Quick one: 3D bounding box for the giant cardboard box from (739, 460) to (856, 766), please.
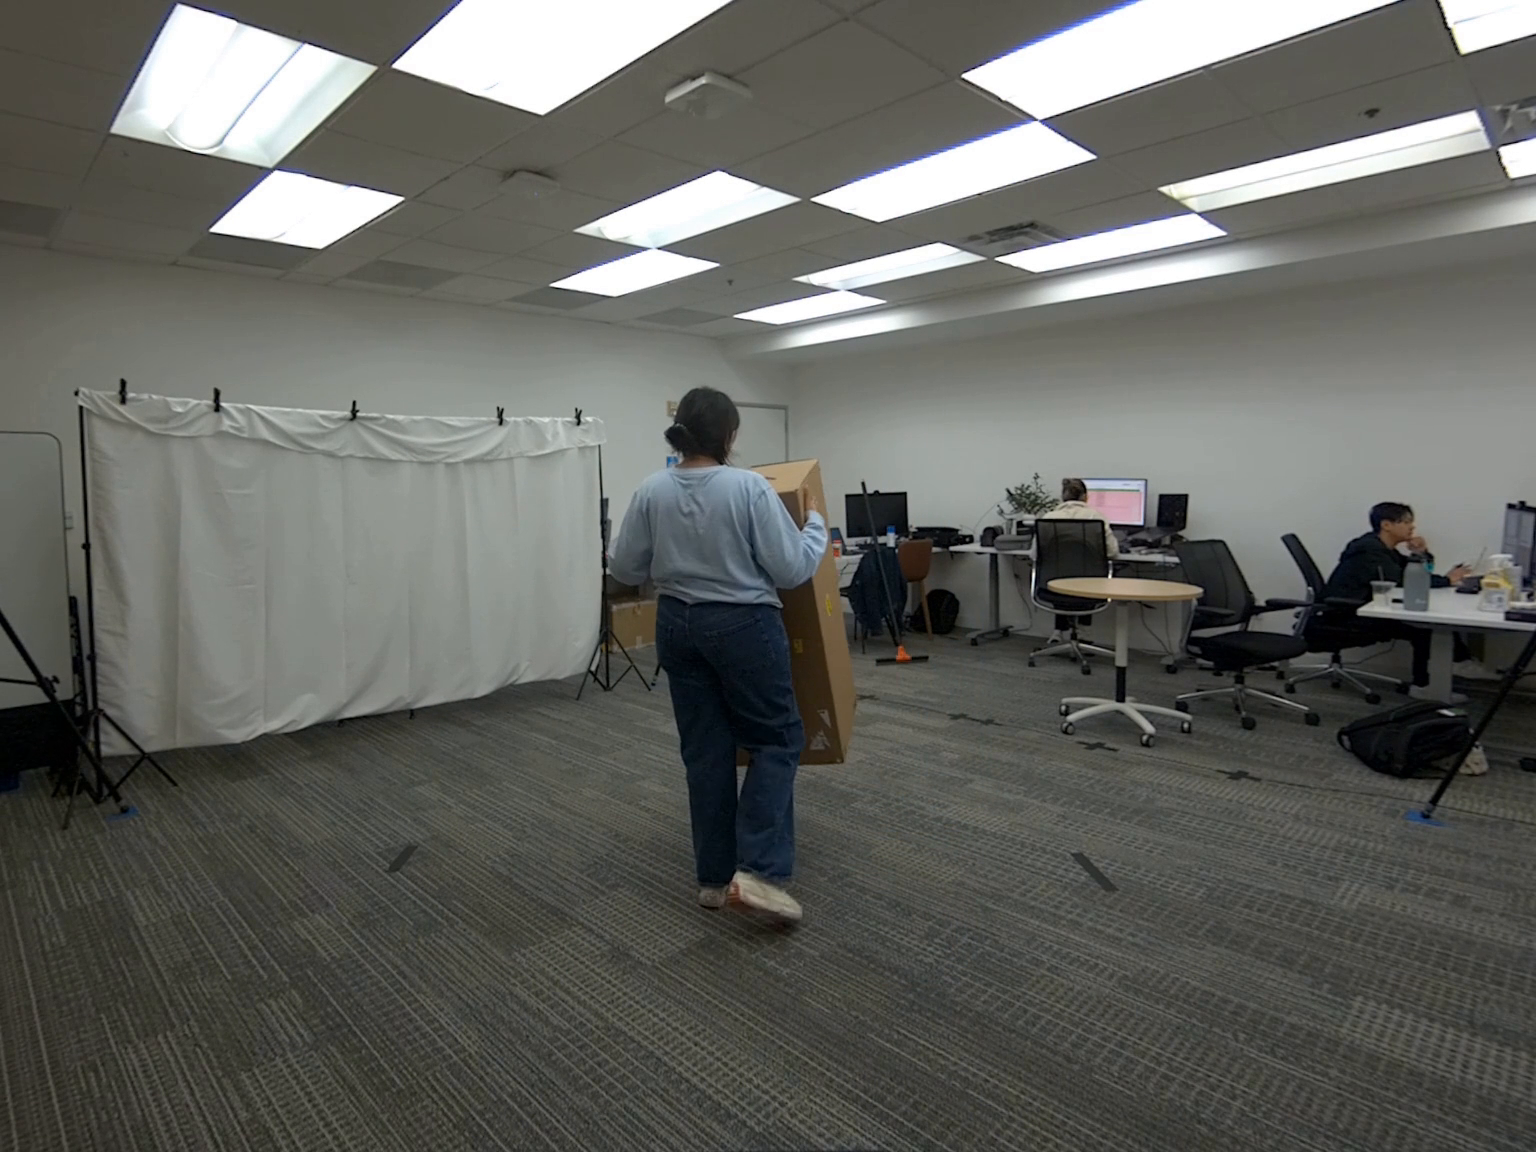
[{"bbox_3d":[-0.041,0.147,3.167,0.594,1.009,0.447,-5,17,19],"label":"giant cardboard box"}]
